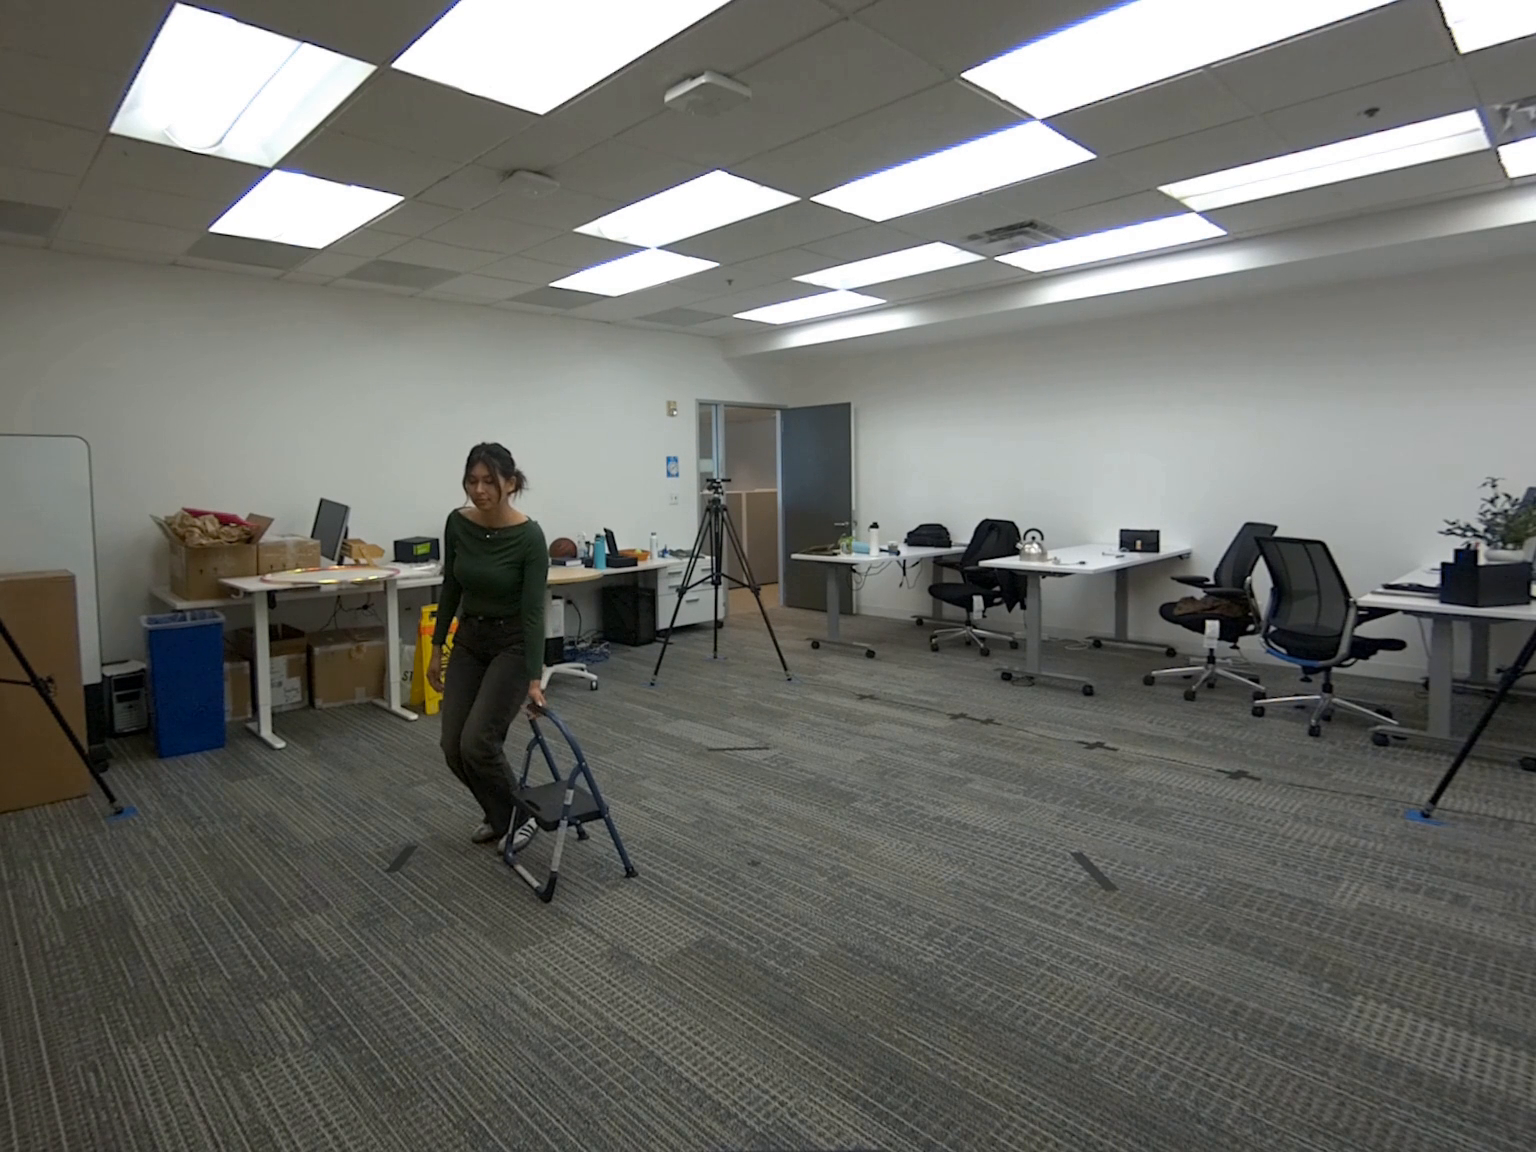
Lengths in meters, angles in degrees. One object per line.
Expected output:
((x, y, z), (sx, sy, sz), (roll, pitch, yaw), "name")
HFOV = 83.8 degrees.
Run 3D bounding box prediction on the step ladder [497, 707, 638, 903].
((-0.729, 0.759, 3.081), (0.340, 0.604, 0.443), (-4, 5, -36), "step ladder")
